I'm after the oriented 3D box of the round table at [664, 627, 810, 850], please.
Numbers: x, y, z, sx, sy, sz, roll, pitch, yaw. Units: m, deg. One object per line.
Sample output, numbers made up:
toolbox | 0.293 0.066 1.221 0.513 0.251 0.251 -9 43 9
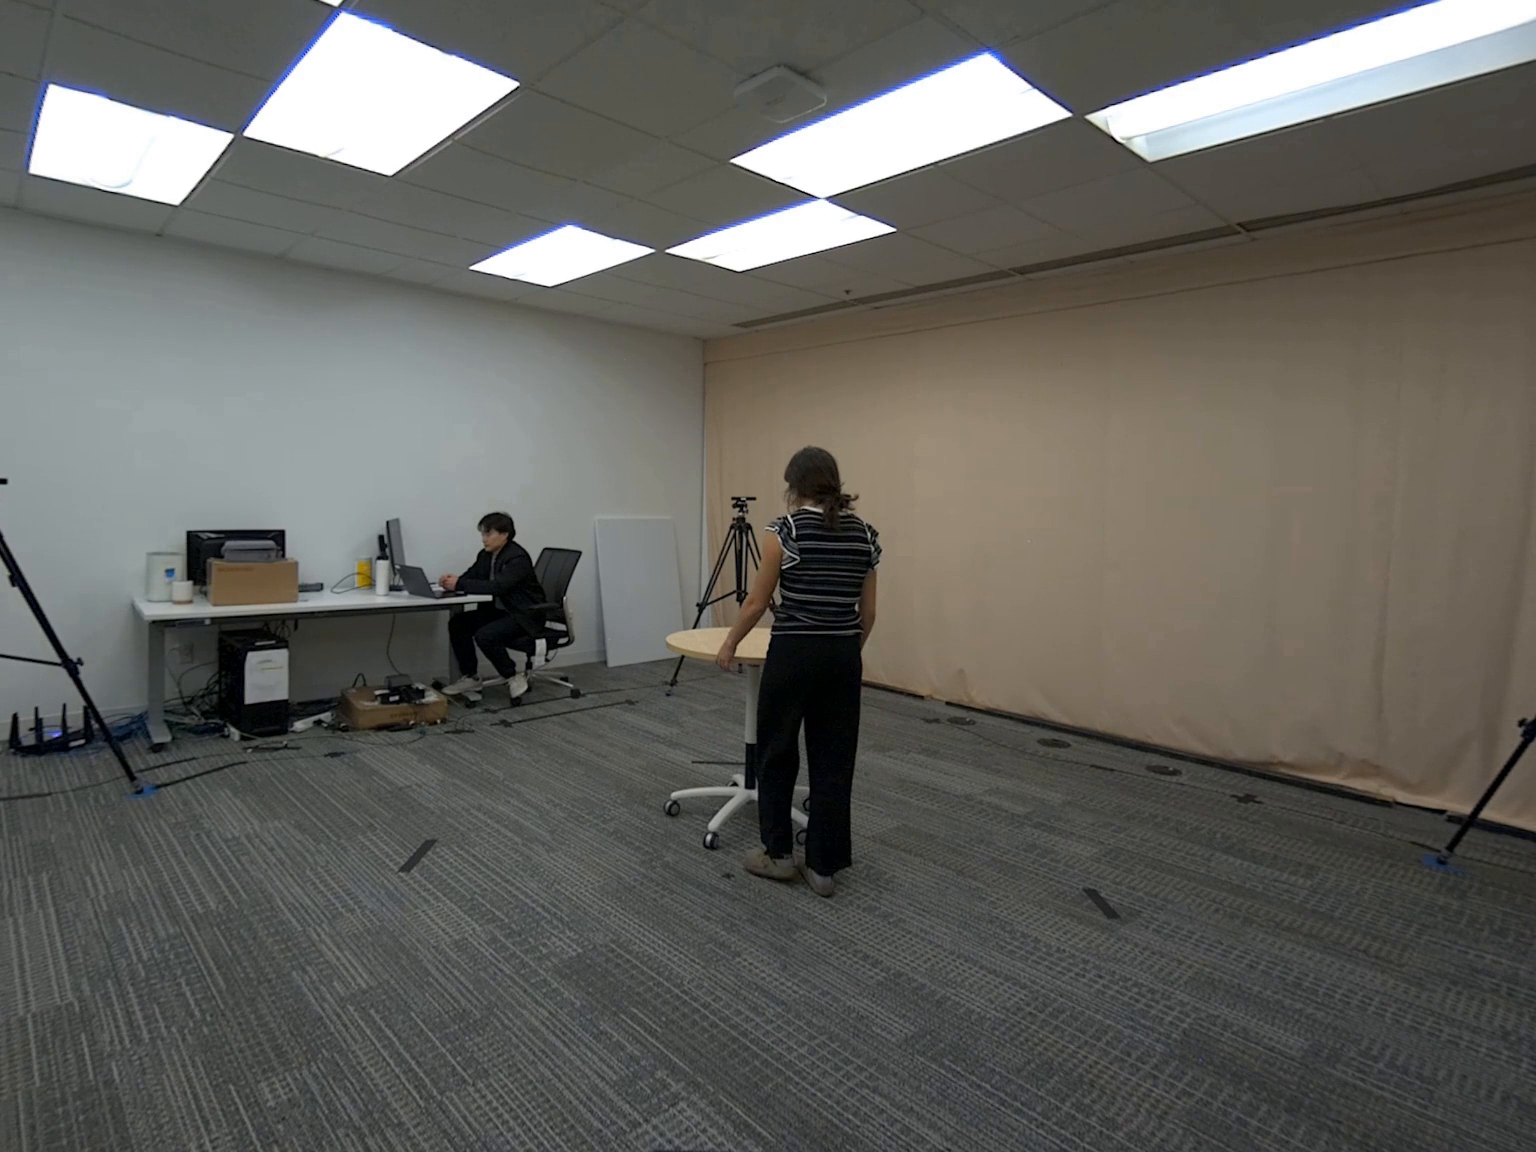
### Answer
round table | -0.067 0.668 3.635 0.784 0.784 0.788 1 4 -1
